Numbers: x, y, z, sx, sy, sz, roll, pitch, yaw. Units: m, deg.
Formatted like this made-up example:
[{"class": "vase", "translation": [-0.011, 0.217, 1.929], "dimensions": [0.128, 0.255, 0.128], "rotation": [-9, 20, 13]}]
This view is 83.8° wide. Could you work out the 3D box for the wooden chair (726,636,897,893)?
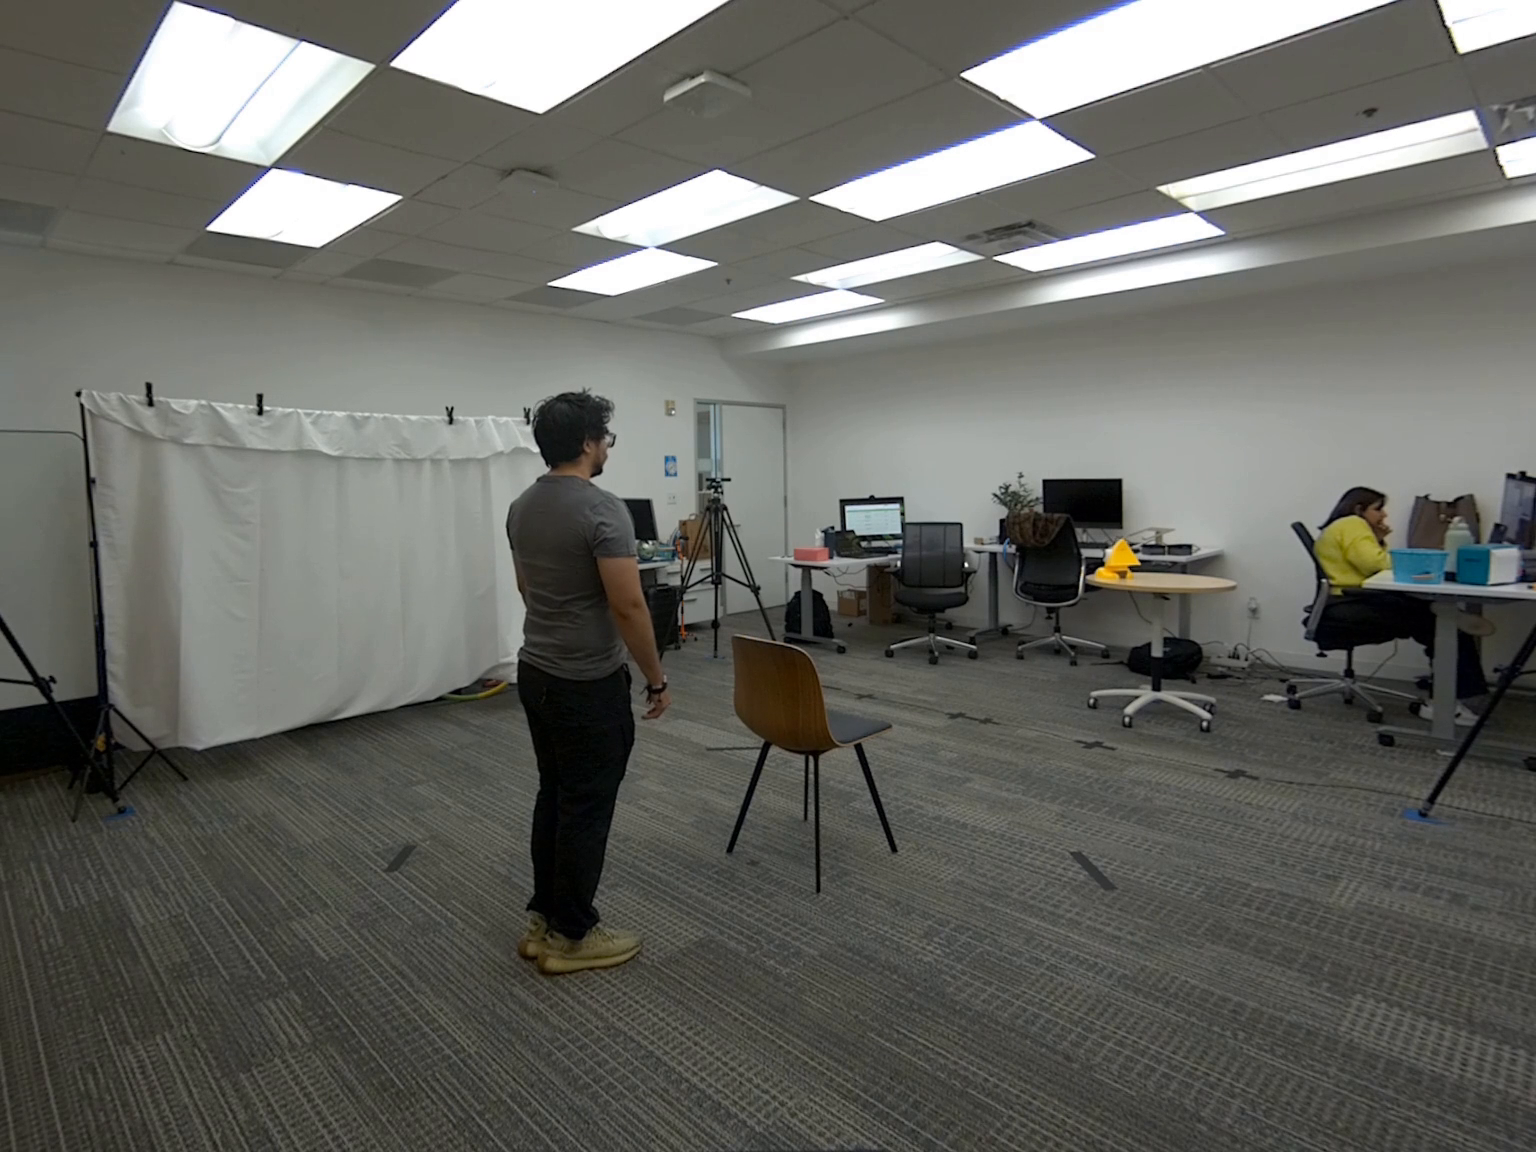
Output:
[{"class": "wooden chair", "translation": [0.162, 0.604, 3.157], "dimensions": [0.493, 0.871, 0.511], "rotation": [3, 10, 45]}]
